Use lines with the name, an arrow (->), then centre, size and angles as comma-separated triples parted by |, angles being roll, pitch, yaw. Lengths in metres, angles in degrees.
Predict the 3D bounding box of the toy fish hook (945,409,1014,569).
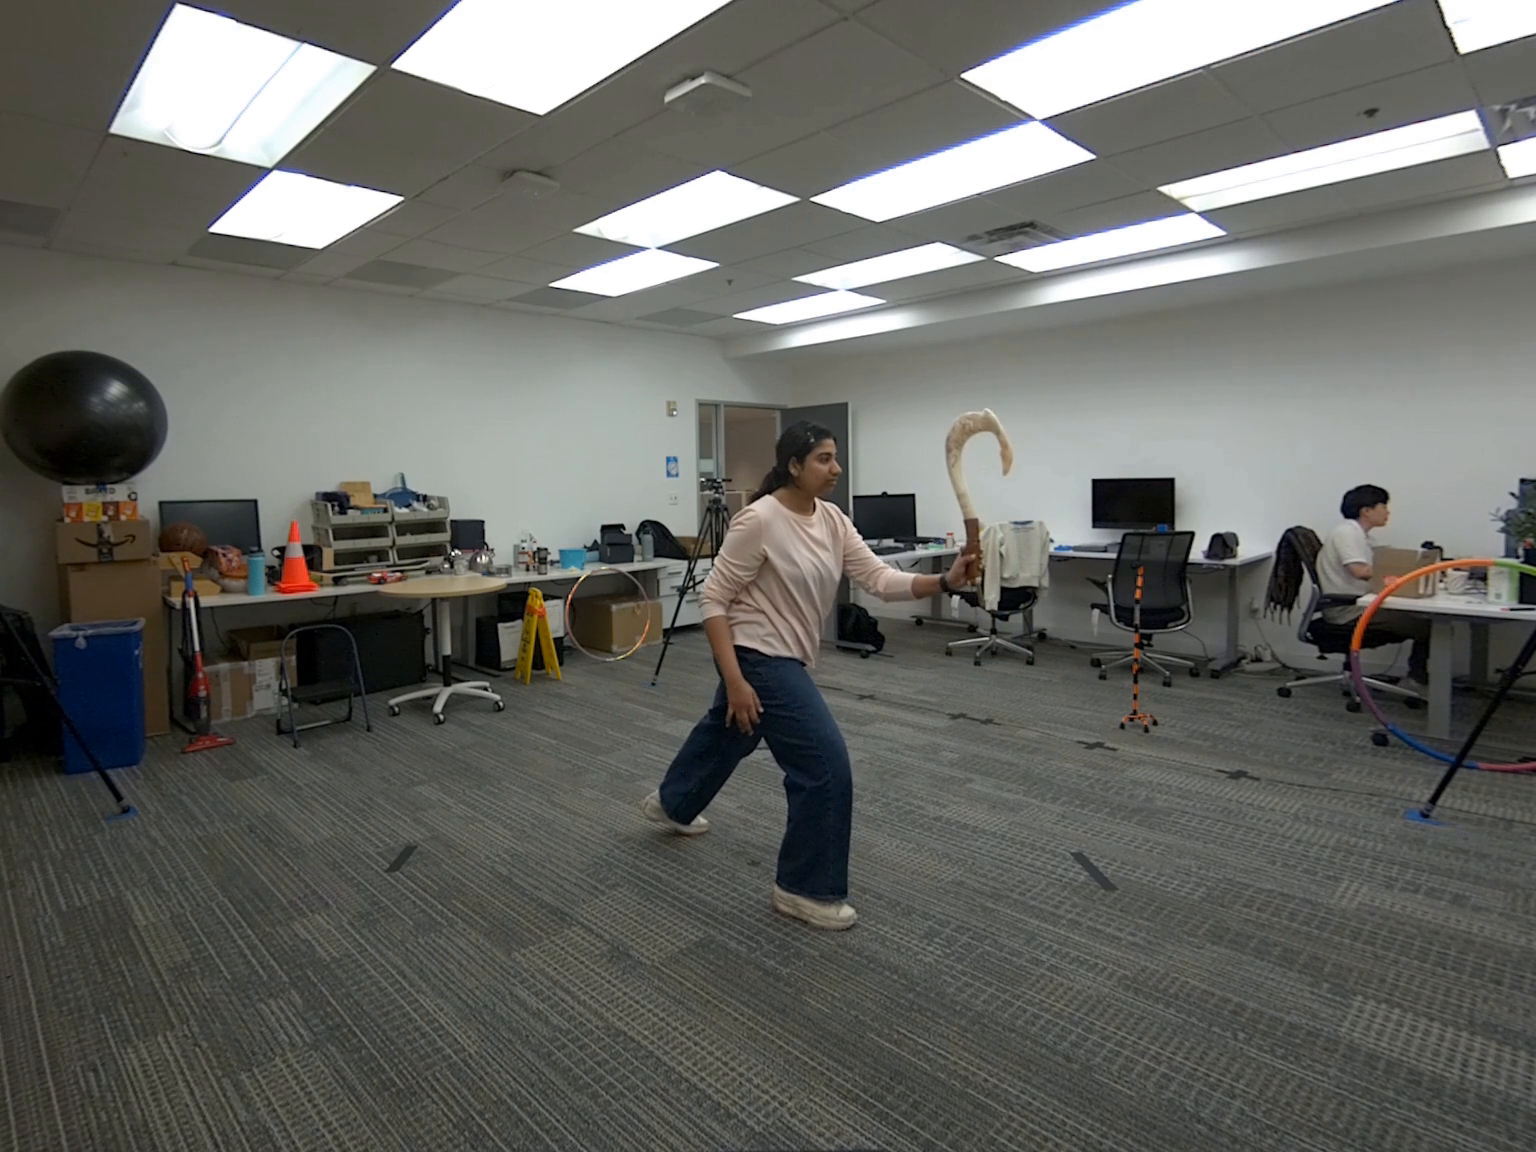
toy fish hook -> 0.617, -0.221, 2.464 | 0.047, 0.507, 0.230 | -3, -1, -34
